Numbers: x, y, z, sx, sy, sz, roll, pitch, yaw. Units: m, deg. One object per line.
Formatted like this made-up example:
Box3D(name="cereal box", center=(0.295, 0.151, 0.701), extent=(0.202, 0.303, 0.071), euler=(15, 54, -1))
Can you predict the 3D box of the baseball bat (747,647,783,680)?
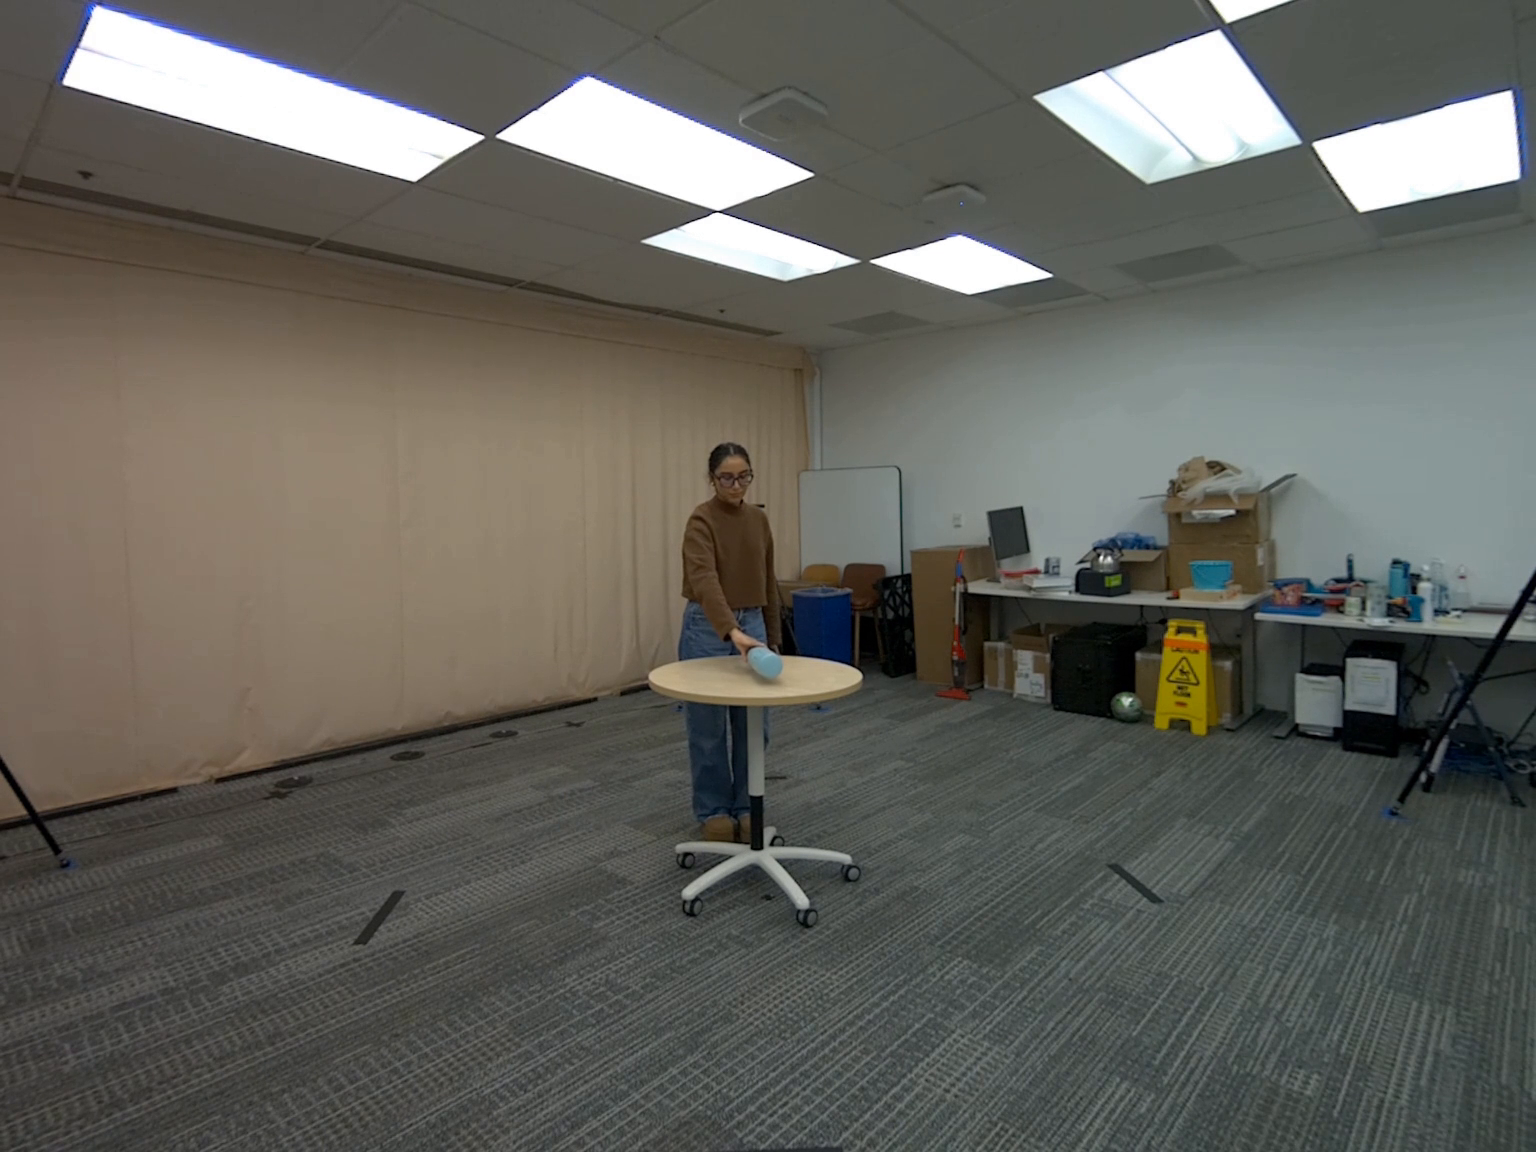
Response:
Box3D(name="baseball bat", center=(-0.037, 0.295, 3.081), extent=(0.088, 0.089, 0.548), euler=(-1, 1, -10))
